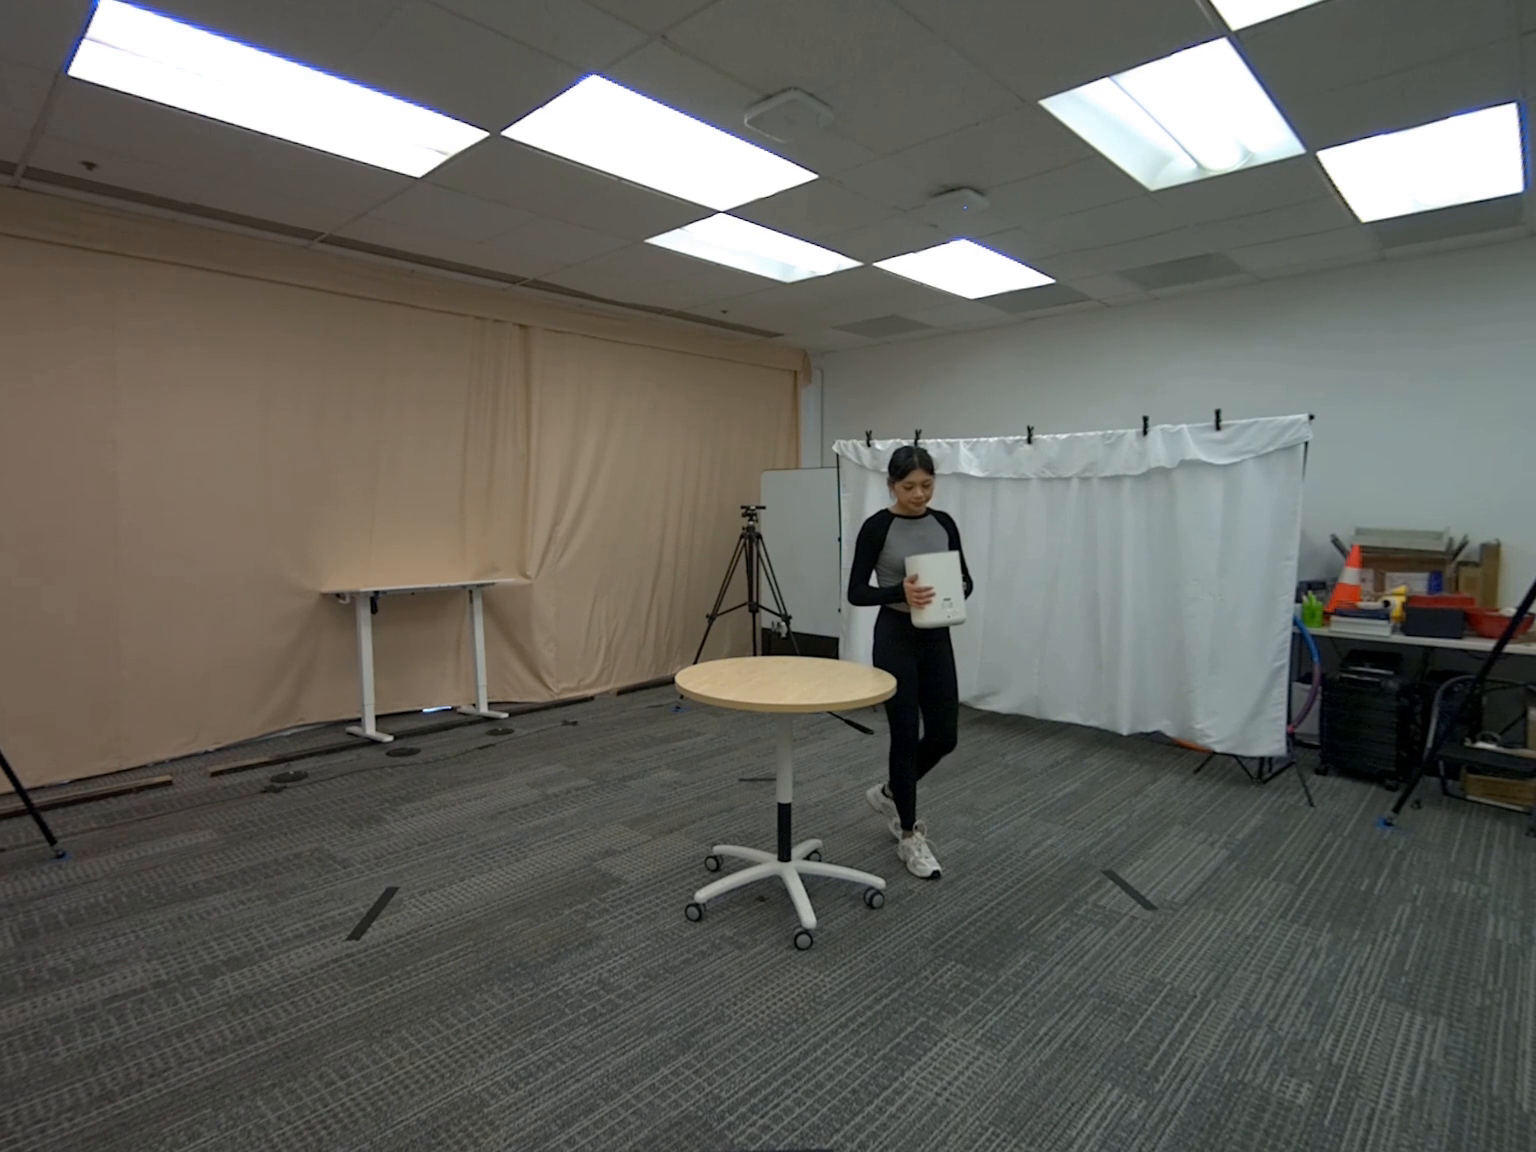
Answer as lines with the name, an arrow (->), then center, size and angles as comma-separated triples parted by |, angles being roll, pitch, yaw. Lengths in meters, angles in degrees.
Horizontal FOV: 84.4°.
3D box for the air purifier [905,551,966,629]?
air purifier -> 0.608, 0.053, 3.054 | 0.170, 0.266, 0.172 | -5, -3, -8
